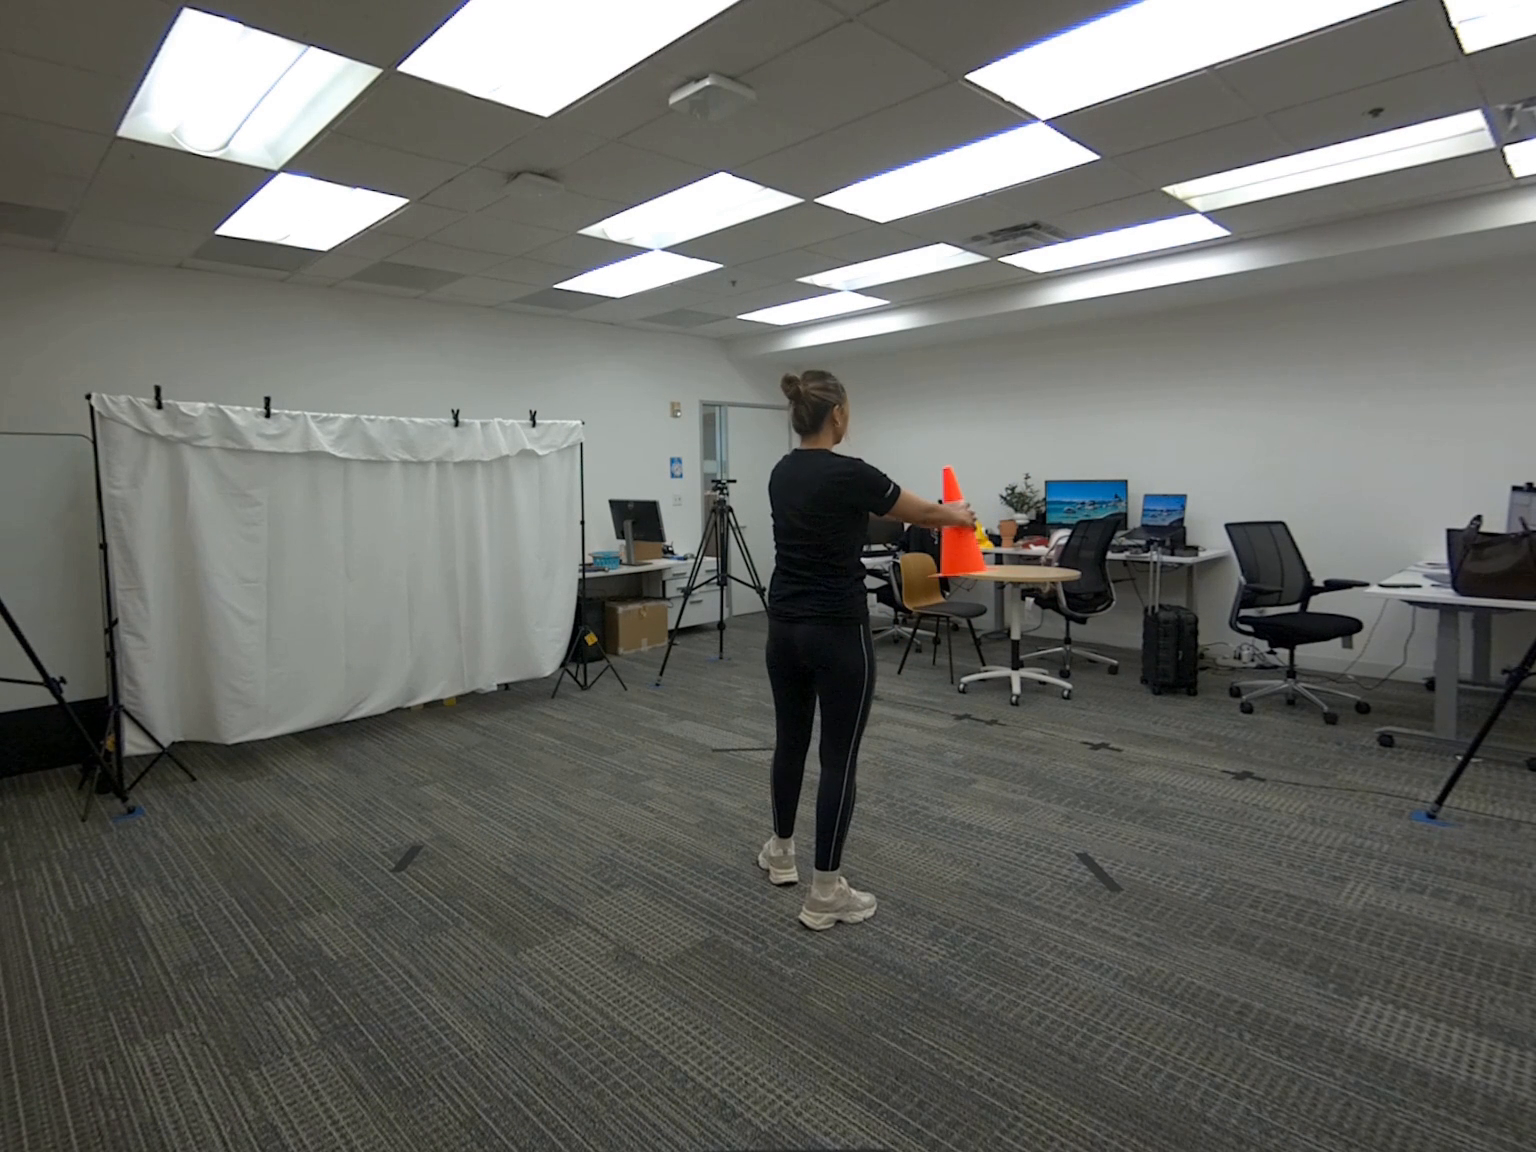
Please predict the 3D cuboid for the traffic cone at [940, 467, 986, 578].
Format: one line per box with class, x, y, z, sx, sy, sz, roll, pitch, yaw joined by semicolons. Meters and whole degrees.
traffic cone;0.674;-0.201;3.058;0.200;0.383;0.208;-9;3;-36
